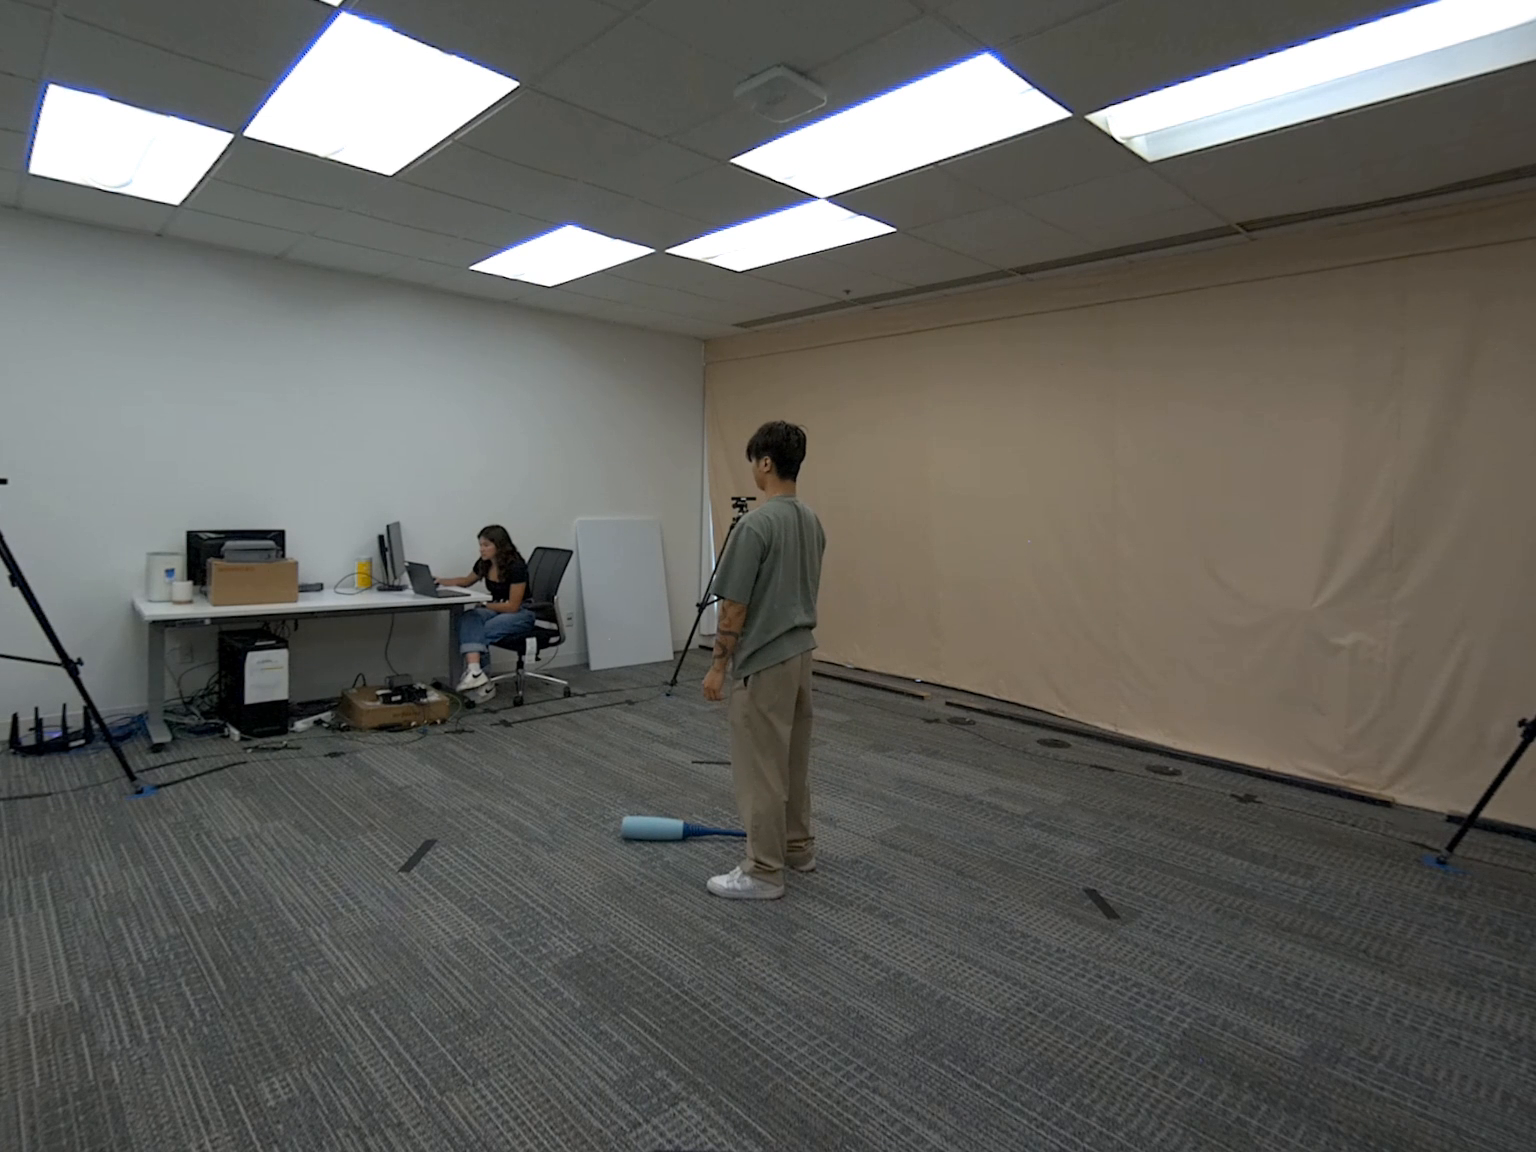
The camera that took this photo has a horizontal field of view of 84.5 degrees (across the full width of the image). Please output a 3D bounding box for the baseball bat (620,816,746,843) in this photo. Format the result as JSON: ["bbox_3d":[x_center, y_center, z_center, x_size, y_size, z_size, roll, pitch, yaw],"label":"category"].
[{"bbox_3d":[-0.334,1.037,3.425,0.542,0.089,0.089,3,4,-1],"label":"baseball bat"}]
